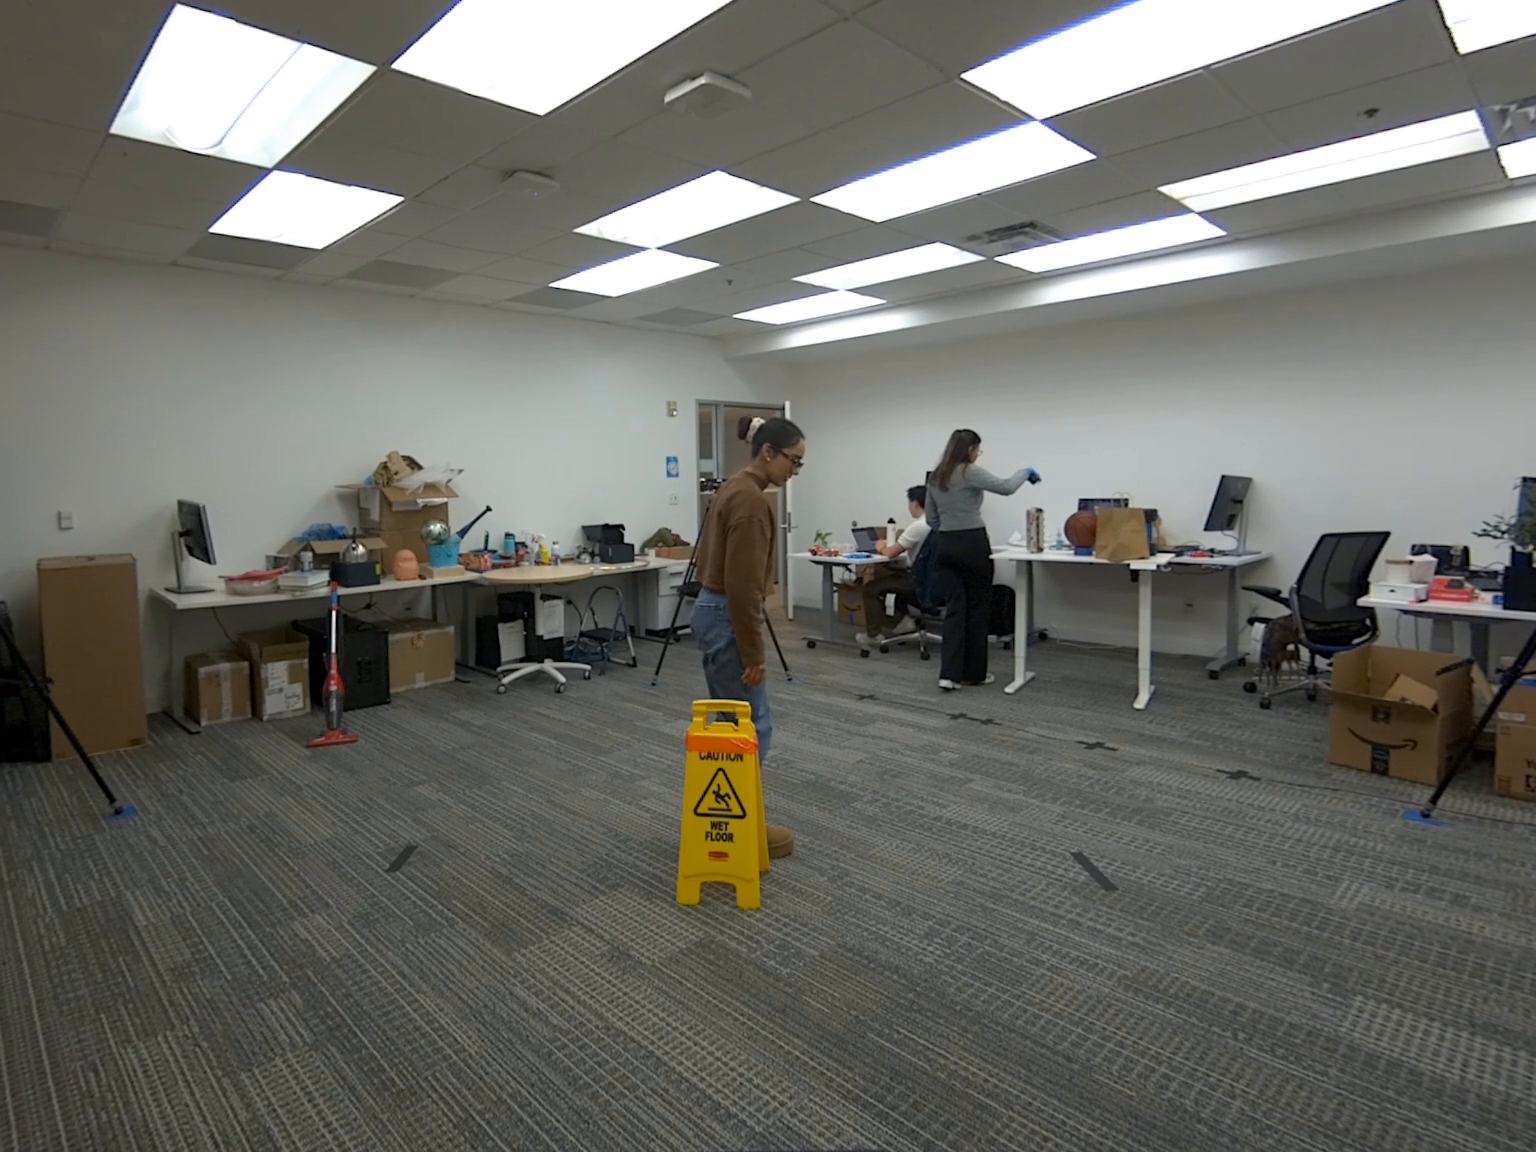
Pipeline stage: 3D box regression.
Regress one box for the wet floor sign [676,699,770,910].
[{"bbox_3d":[-0.149,0.751,2.909,0.284,0.644,0.288,-3,4,8],"label":"wet floor sign"}]
